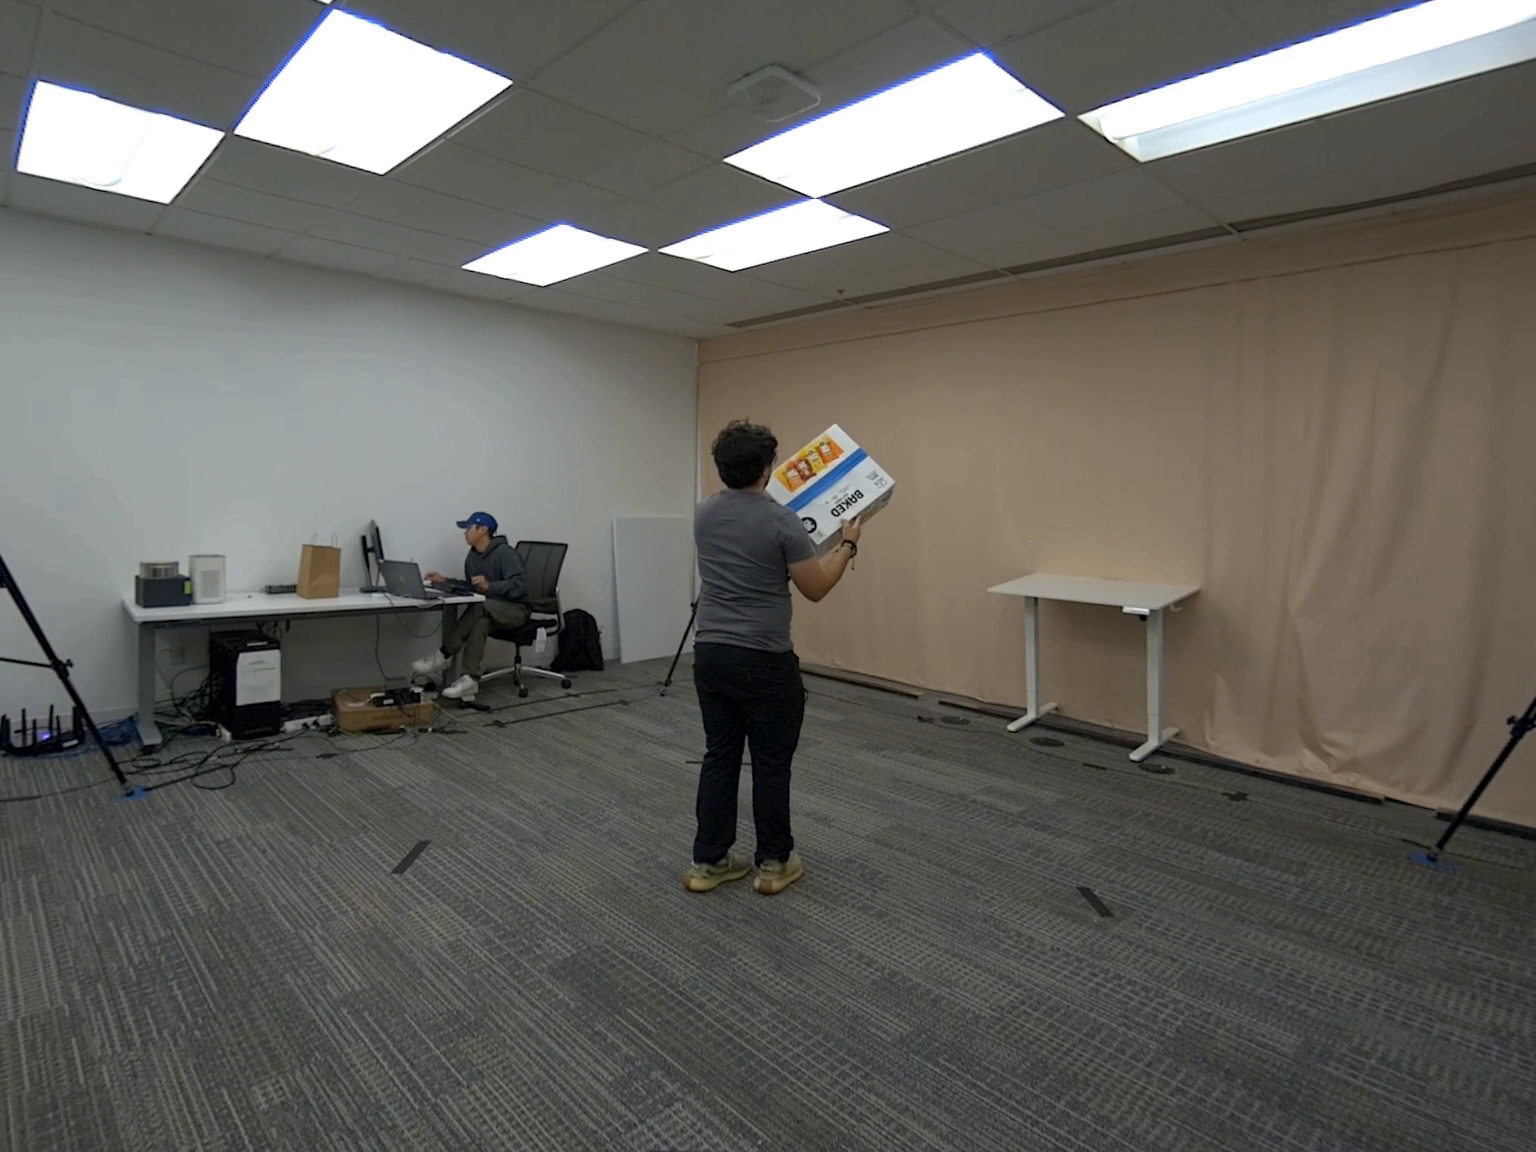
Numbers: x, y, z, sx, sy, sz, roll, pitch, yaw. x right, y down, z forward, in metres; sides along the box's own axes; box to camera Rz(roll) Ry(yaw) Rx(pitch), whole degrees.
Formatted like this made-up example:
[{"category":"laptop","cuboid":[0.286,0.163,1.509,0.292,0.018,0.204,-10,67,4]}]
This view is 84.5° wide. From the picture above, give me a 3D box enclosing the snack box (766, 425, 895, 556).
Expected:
[{"category":"snack box","cuboid":[0.212,-0.317,3.271,0.404,0.346,0.202,-38,-17,-14]}]
